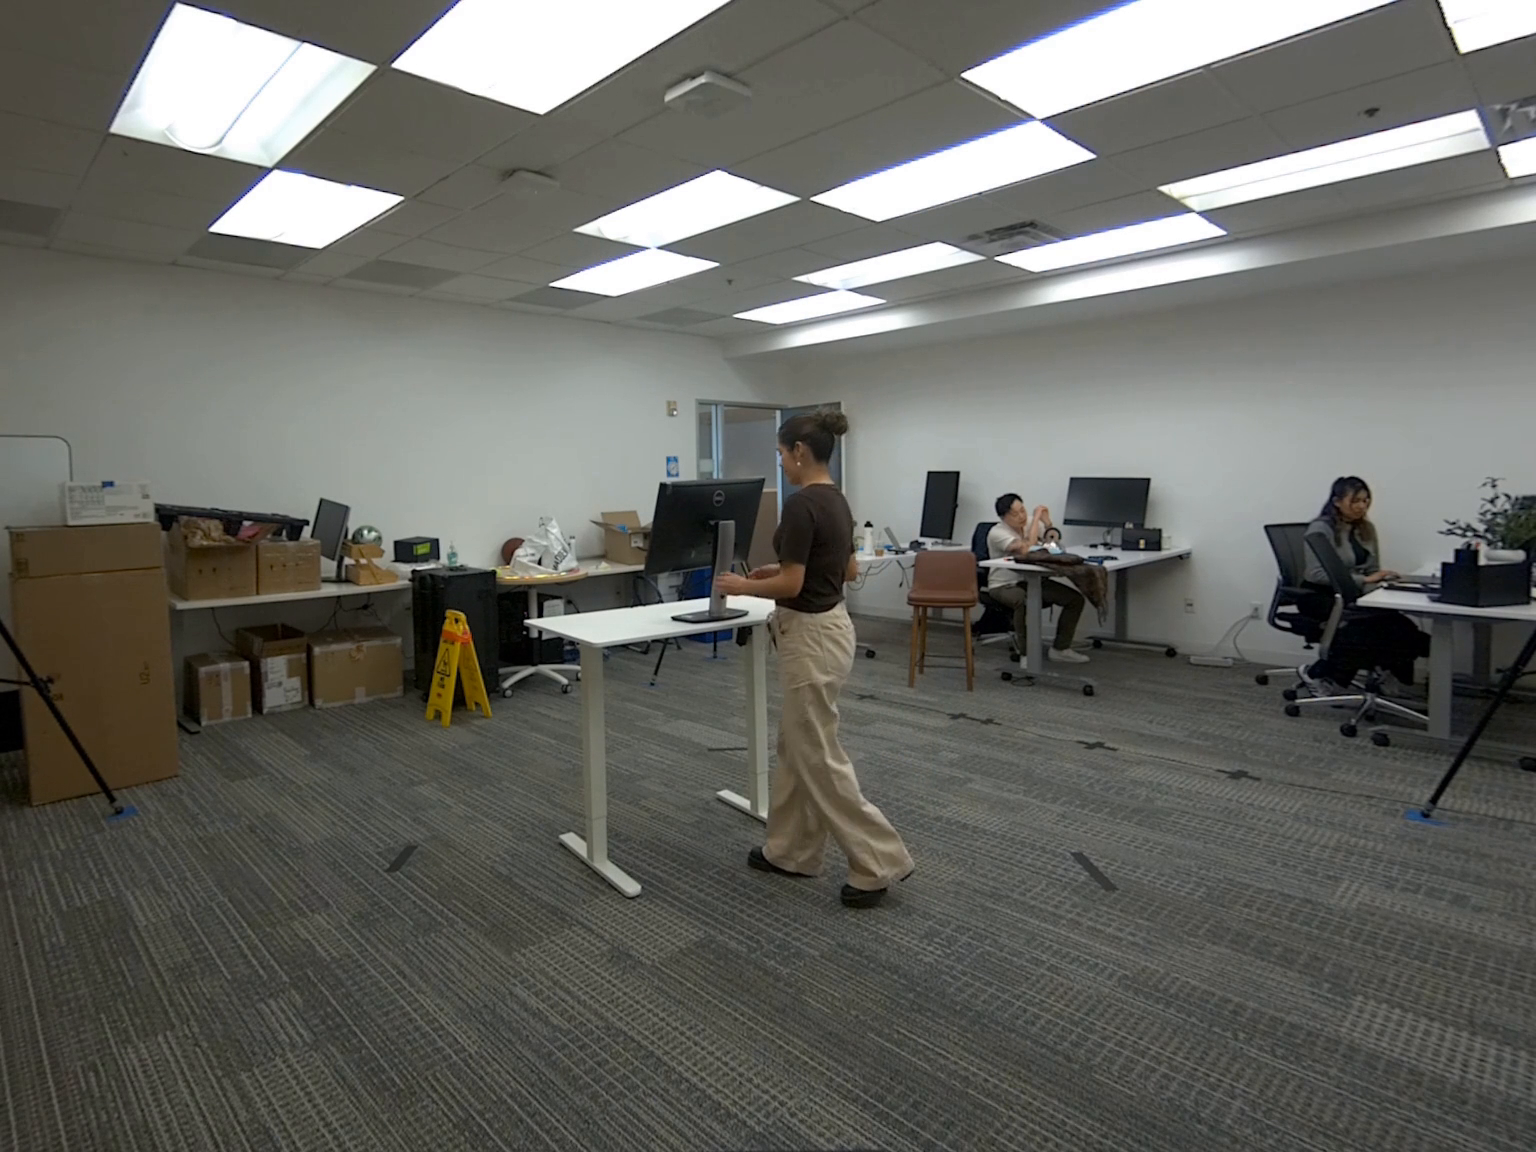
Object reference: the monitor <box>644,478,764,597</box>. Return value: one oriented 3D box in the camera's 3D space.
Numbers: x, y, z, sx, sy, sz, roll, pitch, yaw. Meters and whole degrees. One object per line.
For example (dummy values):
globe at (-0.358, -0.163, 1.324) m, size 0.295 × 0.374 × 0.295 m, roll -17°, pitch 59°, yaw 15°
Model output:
monitor at (-0.209, -0.096, 3.168) m, size 0.193 × 0.519 × 0.526 m, roll 6°, pitch 10°, yaw 40°
